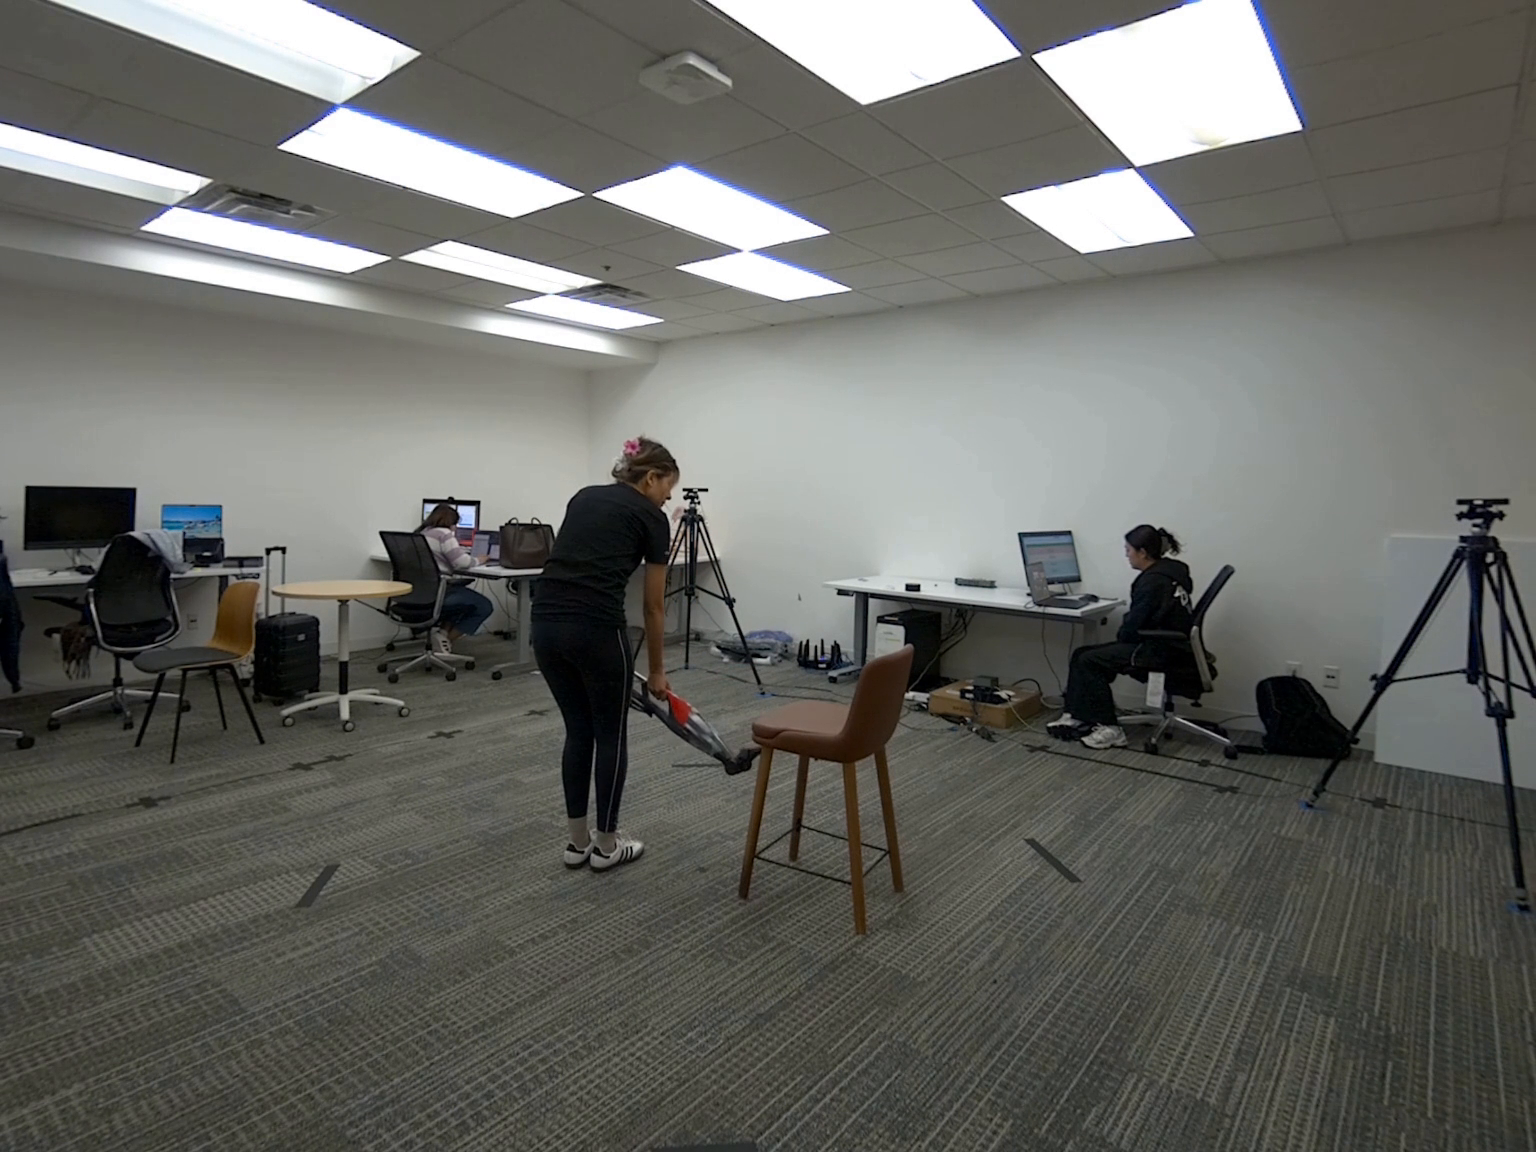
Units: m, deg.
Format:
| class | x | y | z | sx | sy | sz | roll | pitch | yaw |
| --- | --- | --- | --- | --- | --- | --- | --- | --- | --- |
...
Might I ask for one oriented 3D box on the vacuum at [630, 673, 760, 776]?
| class | x | y | z | sx | sy | sz | roll | pitch | yaw |
| --- | --- | --- | --- | --- | --- | --- | --- | --- | --- |
| vacuum | -0.507 | 0.447 | 3.320 | 1.086 | 0.142 | 0.247 | 27 | 26 | 28 |
